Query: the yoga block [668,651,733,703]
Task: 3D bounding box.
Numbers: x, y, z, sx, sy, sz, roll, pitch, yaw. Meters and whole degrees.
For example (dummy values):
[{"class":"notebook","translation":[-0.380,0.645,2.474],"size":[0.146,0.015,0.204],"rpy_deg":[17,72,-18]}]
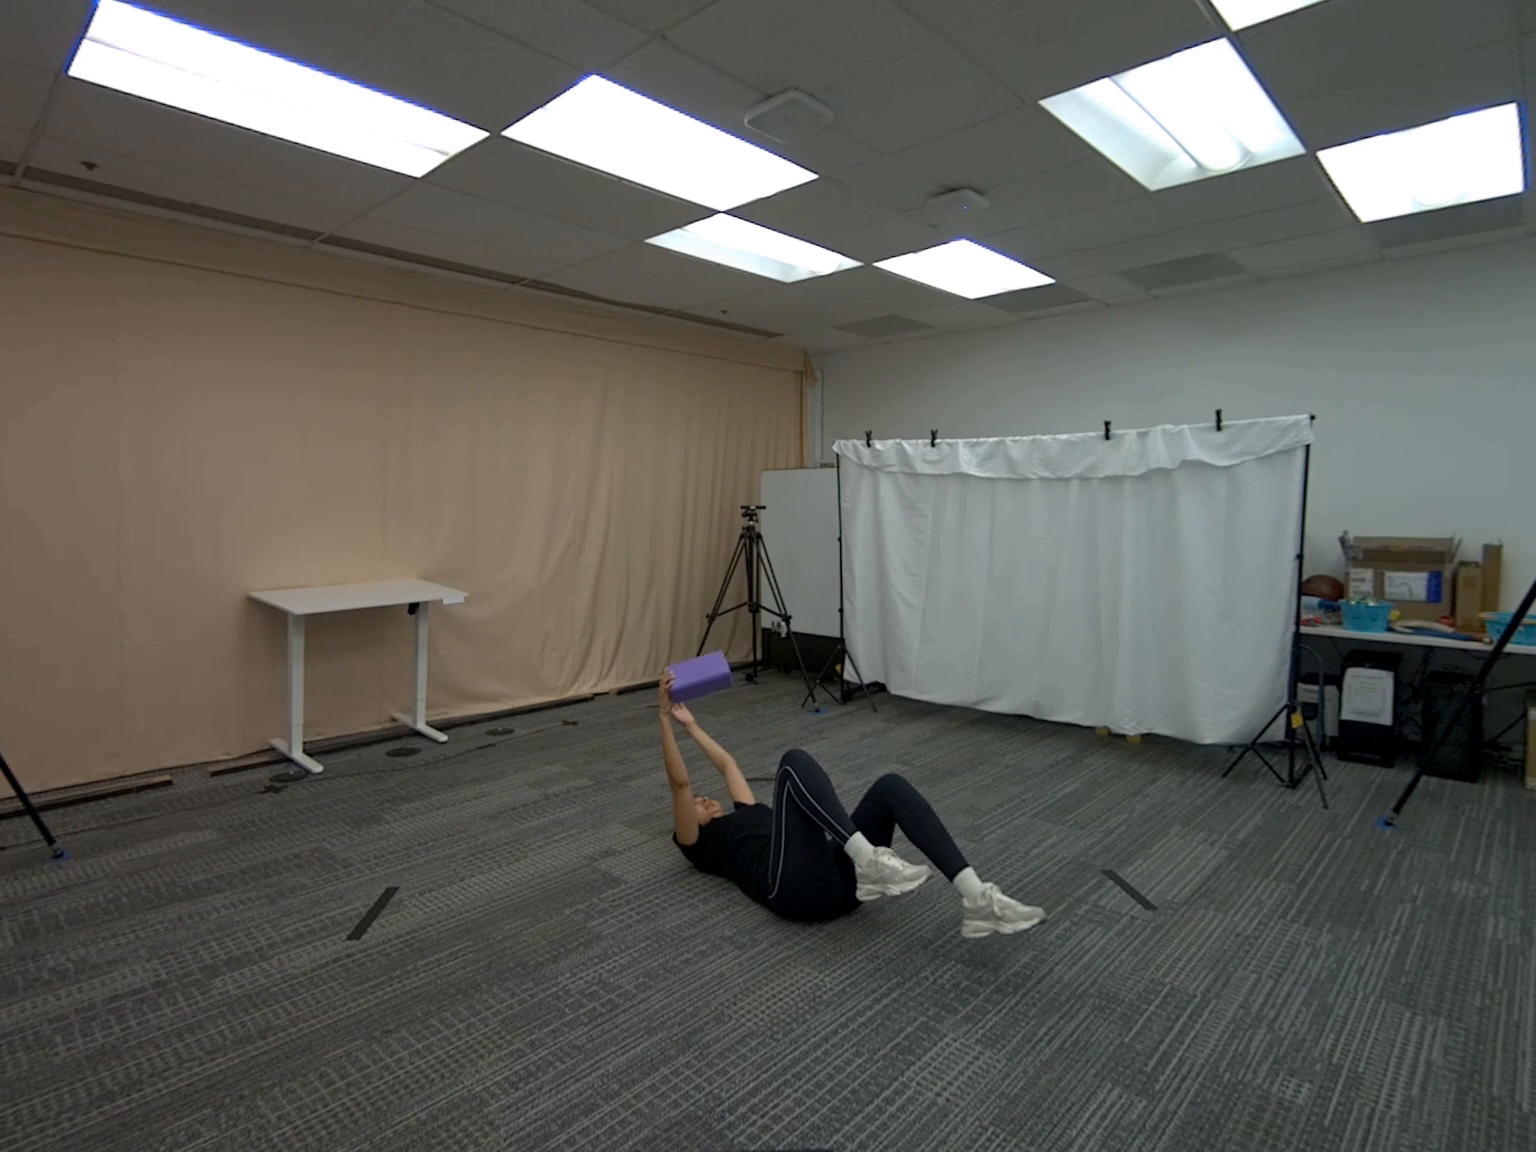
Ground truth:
[{"class":"yoga block","translation":[-0.269,0.392,3.150],"size":[0.228,0.075,0.153],"rpy_deg":[-14,33,-4]}]
